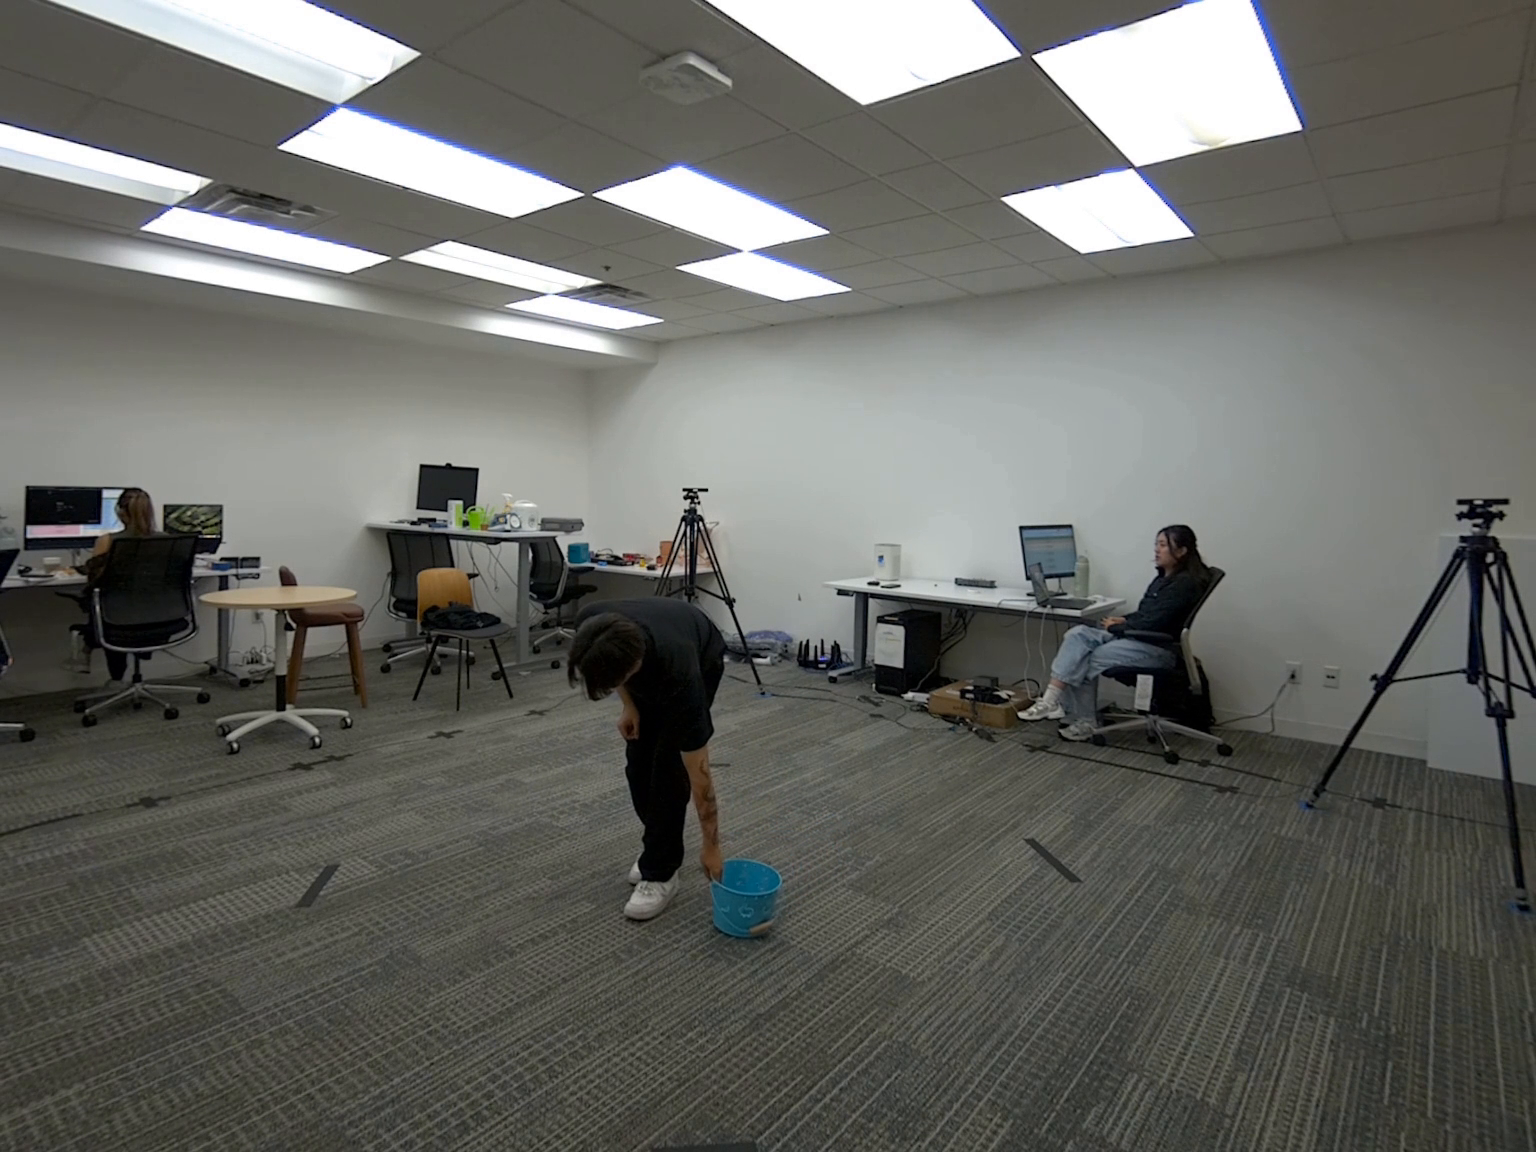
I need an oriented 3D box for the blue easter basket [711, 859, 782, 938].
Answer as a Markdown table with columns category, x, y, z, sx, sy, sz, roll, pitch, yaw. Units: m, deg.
| category | x | y | z | sx | sy | sz | roll | pitch | yaw |
| --- | --- | --- | --- | --- | --- | --- | --- | --- | --- |
| blue easter basket | -0.088 | 1.026 | 2.720 | 0.243 | 0.155 | 0.245 | 5 | 6 | -2 |
